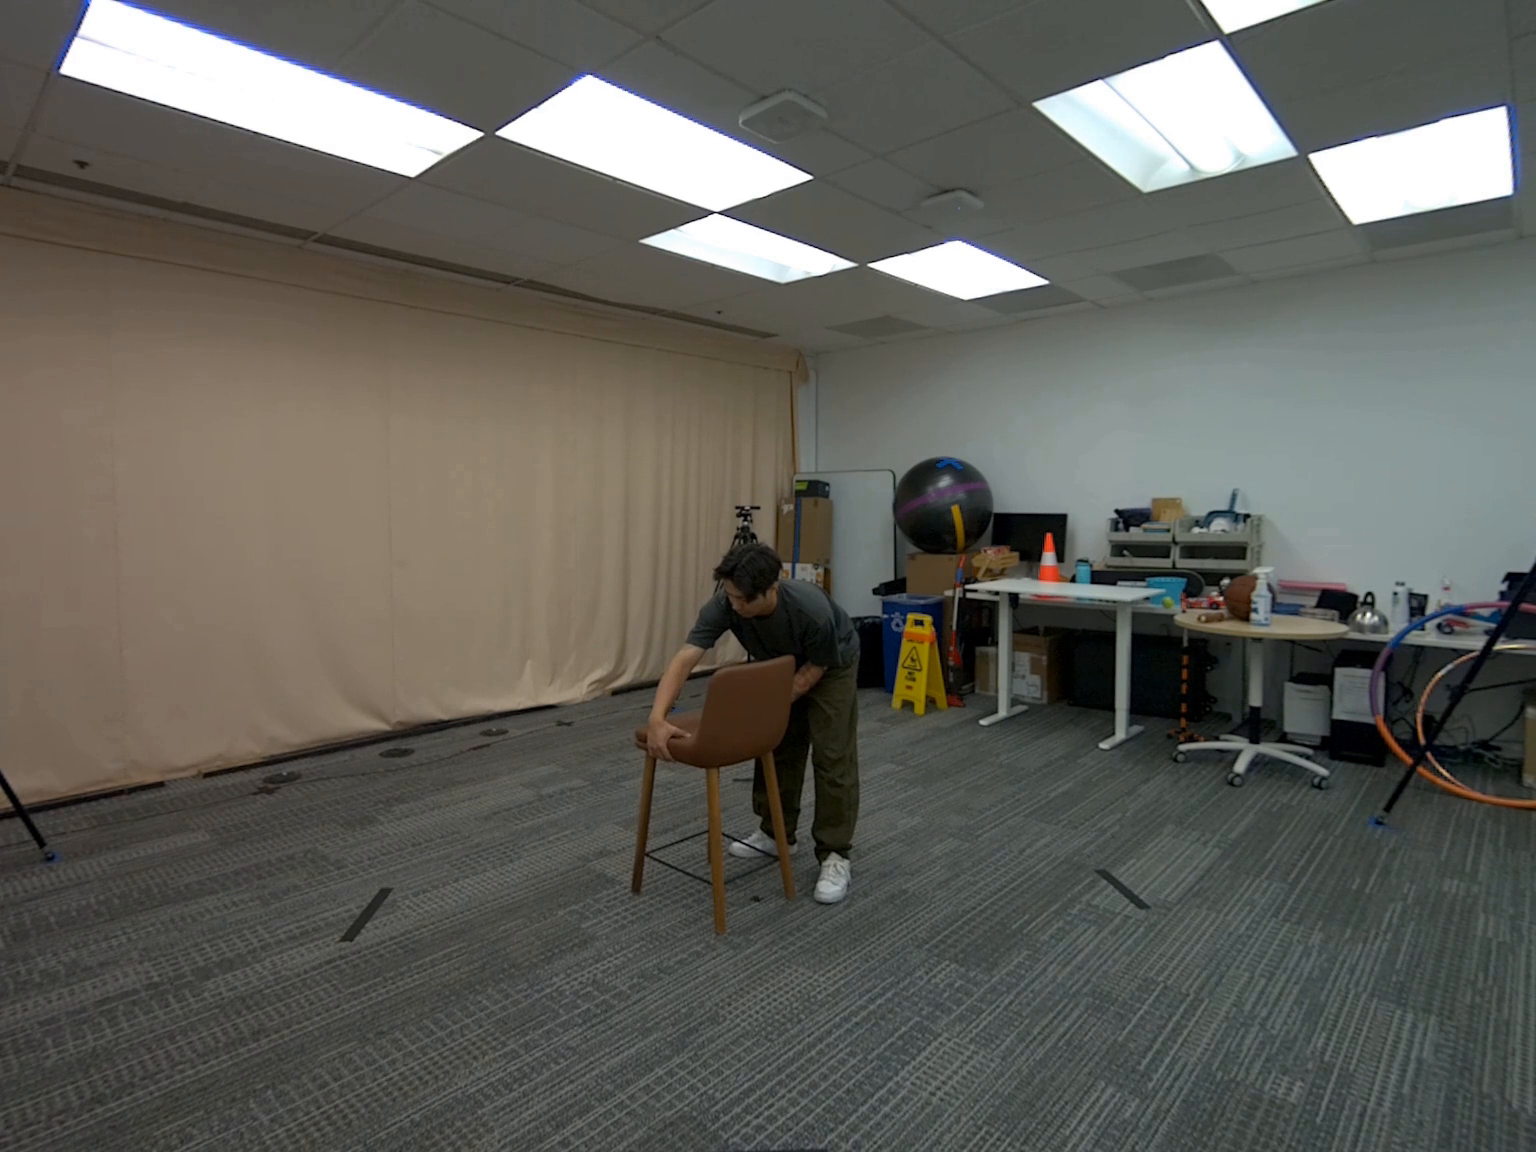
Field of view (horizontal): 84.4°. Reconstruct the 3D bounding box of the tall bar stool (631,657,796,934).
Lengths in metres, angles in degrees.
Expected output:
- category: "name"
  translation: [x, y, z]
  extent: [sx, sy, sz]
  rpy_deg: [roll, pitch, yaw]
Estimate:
- category: "tall bar stool"
  translation: [-0.196, 0.707, 2.988]
  extent: [0.483, 0.887, 0.442]
  rpy_deg: [4, 5, 44]
